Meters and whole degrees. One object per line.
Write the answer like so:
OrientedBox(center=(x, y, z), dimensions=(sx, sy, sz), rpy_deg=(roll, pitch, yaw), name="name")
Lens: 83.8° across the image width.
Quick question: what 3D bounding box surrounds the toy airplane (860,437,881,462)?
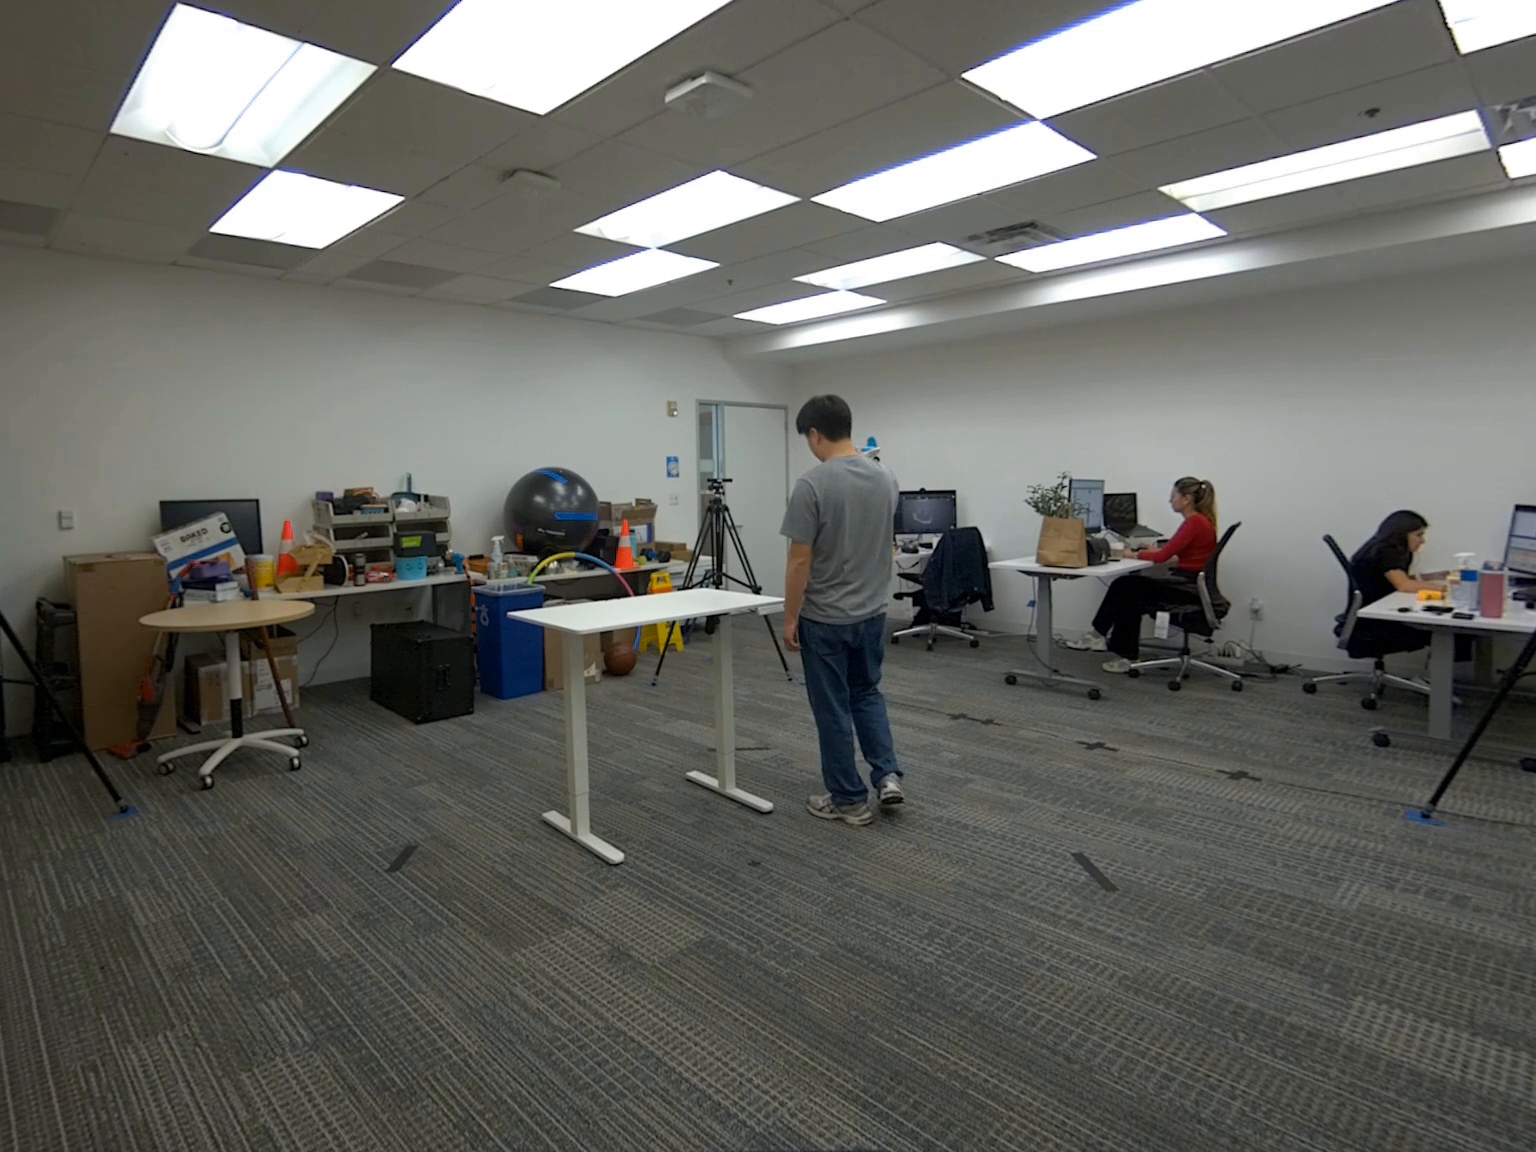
OrientedBox(center=(0.404, -0.549, 4.011), dimensions=(0.256, 0.157, 0.252), rpy_deg=(-23, -5, -27), name="toy airplane")
